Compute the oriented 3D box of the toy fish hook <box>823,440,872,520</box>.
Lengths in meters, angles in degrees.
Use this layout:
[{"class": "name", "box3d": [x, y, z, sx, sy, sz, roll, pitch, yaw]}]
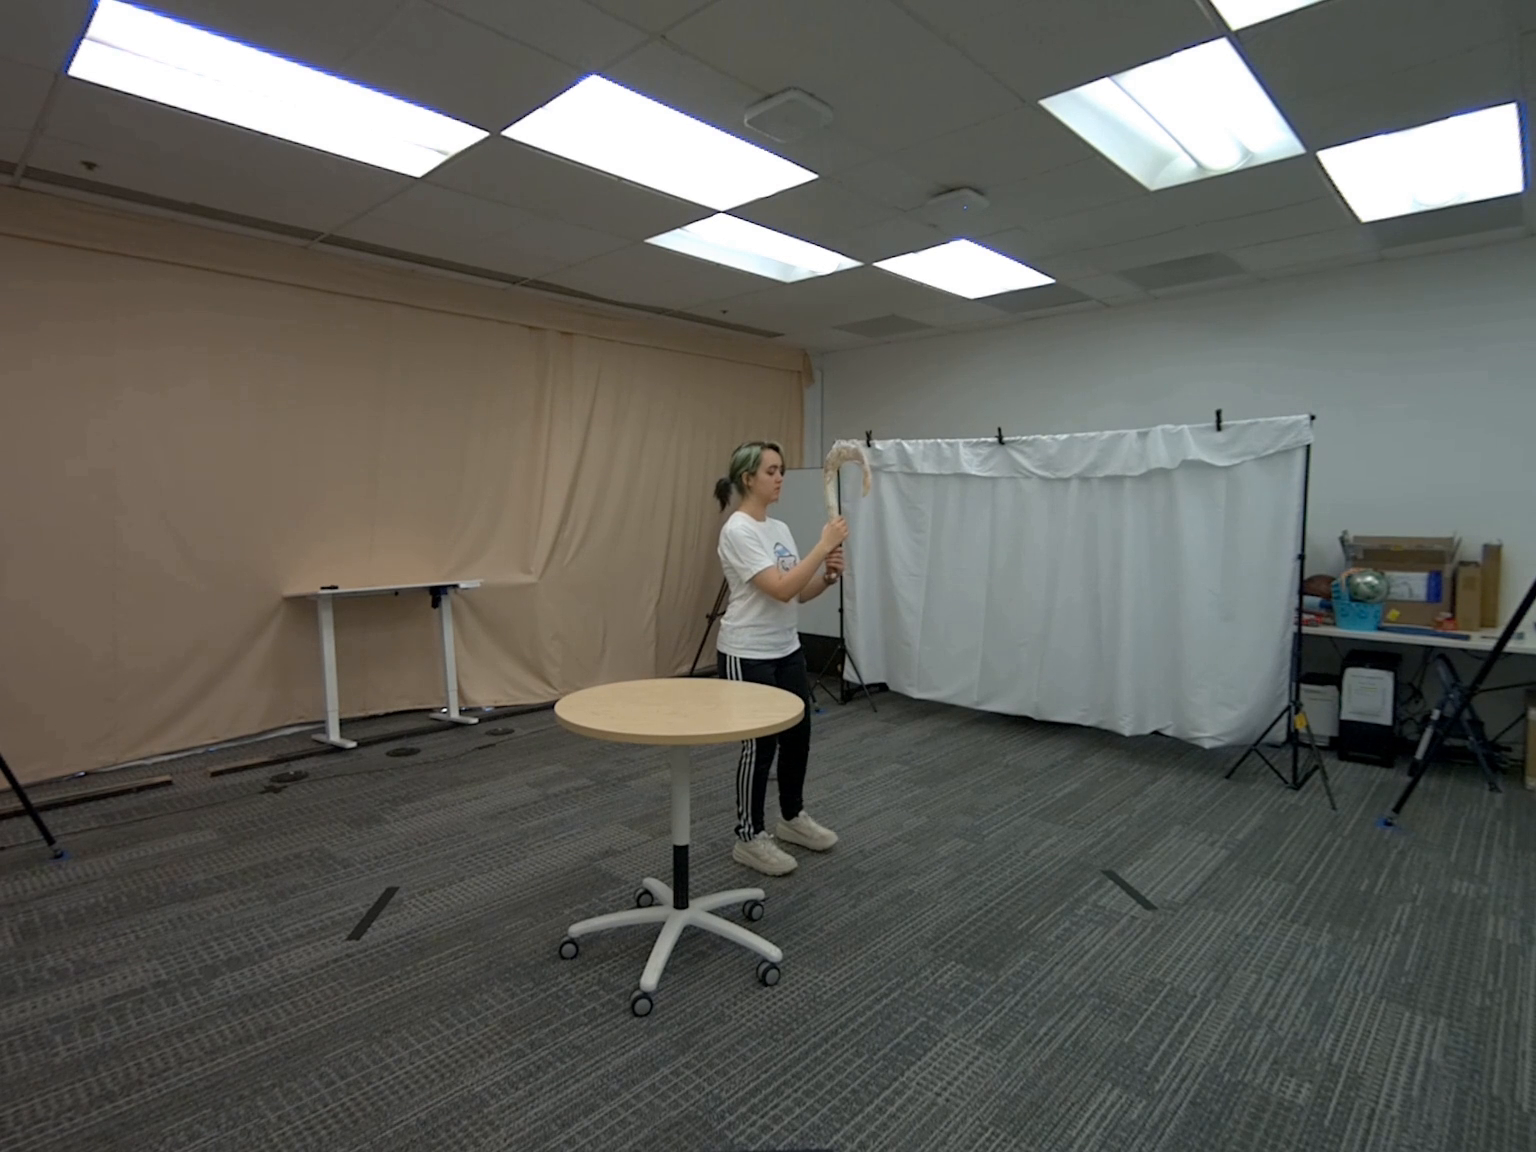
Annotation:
[{"class": "toy fish hook", "box3d": [0.279, -0.231, 3.081, 0.047, 0.505, 0.232, 1, 5, -38]}]
